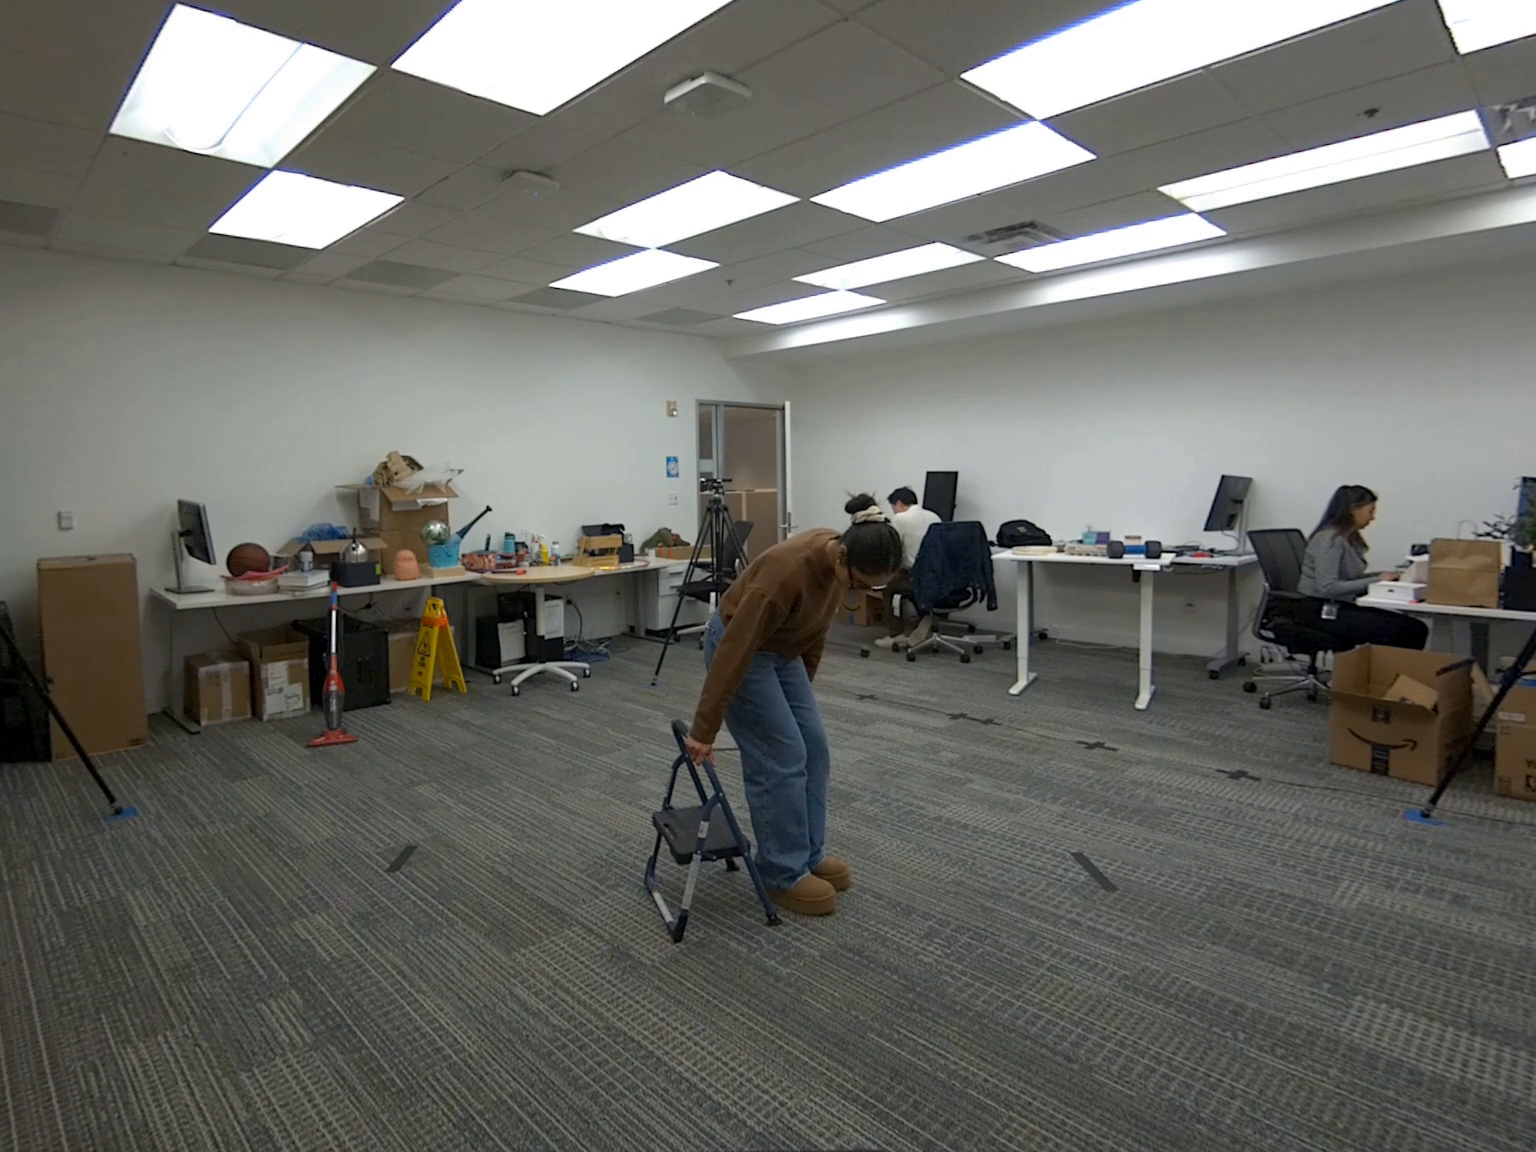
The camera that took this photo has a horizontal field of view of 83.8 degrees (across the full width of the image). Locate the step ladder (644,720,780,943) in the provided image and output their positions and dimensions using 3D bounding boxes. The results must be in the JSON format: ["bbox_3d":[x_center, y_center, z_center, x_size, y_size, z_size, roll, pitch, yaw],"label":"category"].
[{"bbox_3d":[-0.193,0.781,2.805,0.343,0.604,0.440,-2,5,-21],"label":"step ladder"}]
